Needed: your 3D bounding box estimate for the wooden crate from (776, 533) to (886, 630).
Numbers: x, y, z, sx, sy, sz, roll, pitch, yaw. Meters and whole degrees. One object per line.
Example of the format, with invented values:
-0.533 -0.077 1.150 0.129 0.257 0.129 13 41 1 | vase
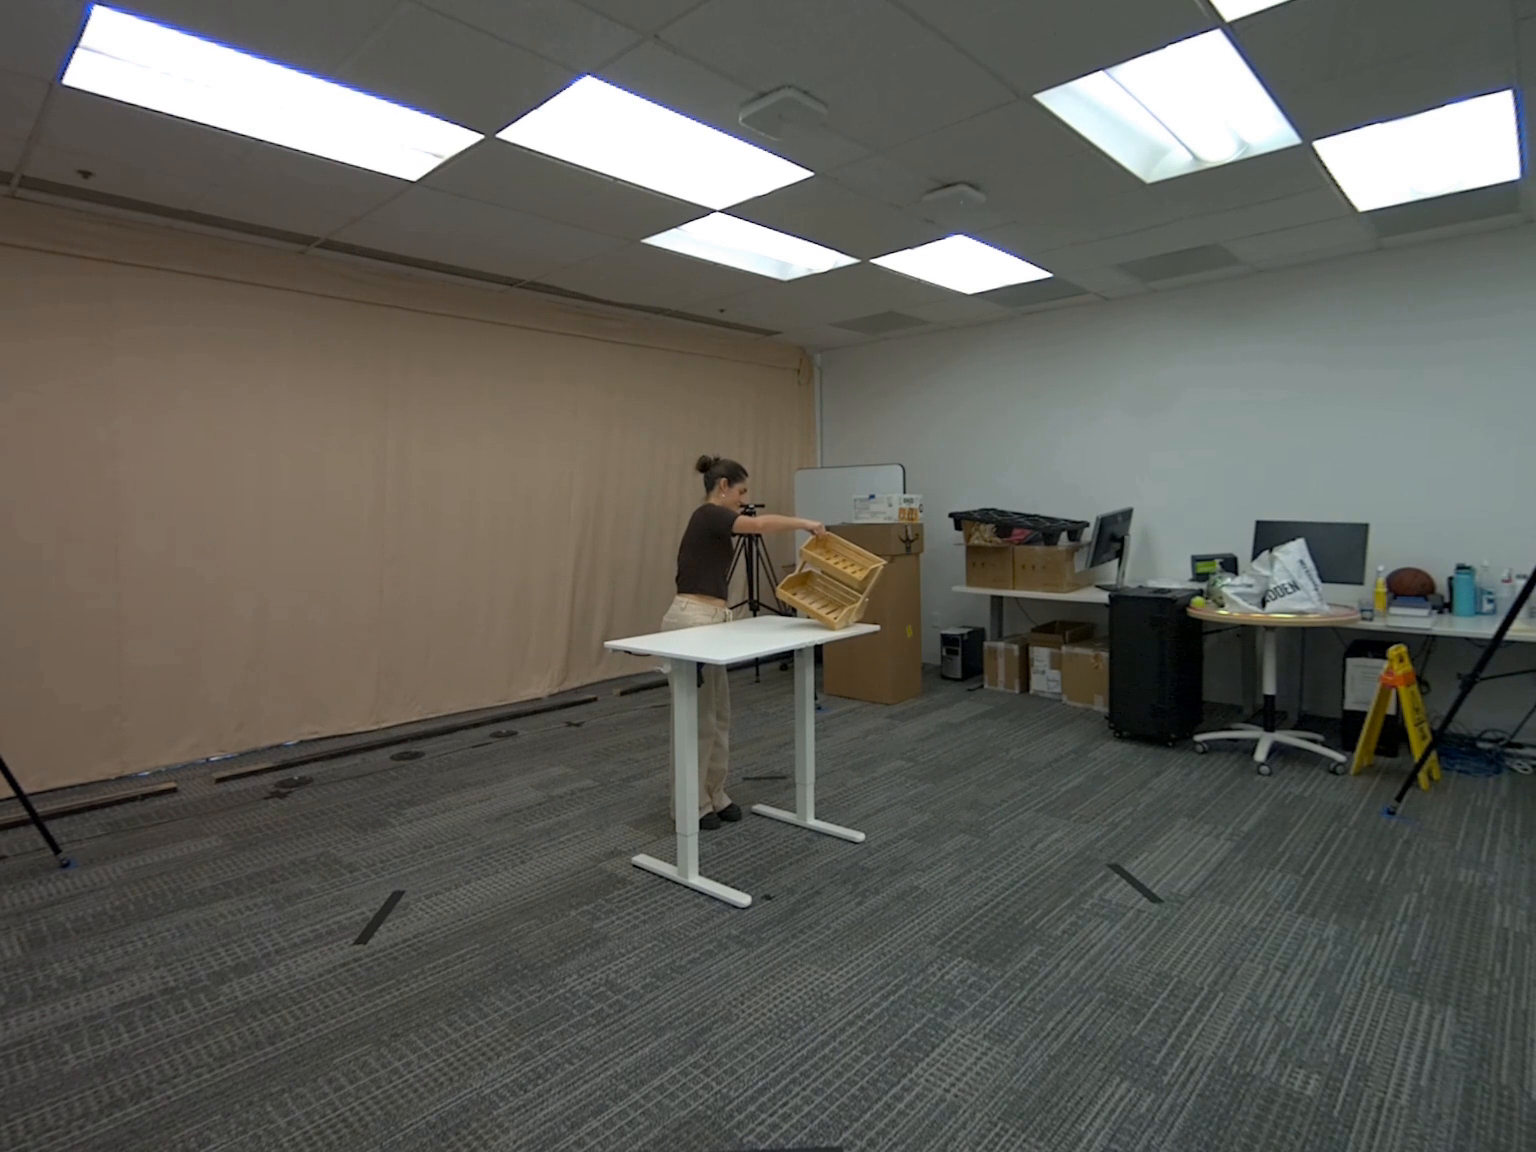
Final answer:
0.265 0.014 3.498 0.335 0.272 0.294 29 24 28 | wooden crate
